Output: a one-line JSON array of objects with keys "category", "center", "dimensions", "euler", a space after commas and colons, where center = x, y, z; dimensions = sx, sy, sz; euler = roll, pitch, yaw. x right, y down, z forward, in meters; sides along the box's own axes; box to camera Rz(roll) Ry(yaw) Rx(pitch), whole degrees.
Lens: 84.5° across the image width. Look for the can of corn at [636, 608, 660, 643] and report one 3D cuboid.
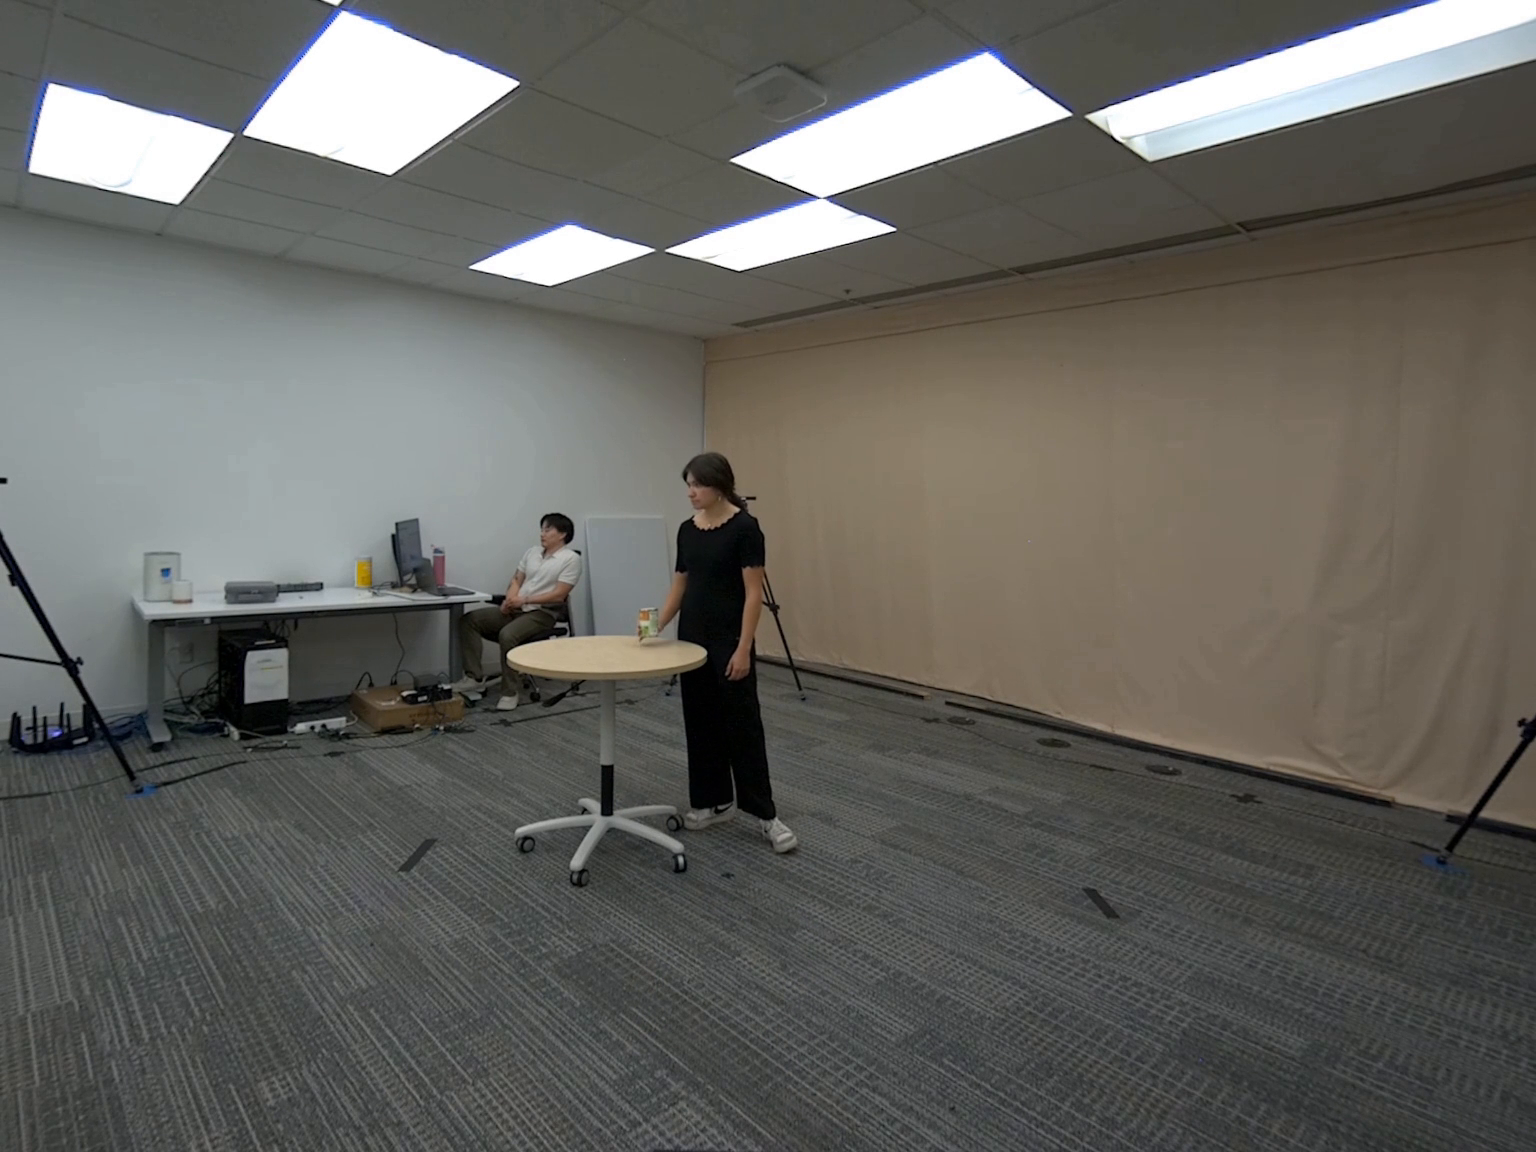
[{"category": "can of corn", "center": [-0.507, 0.187, 3.407], "dimensions": [0.074, 0.111, 0.074], "euler": [0, 1, -1]}]
